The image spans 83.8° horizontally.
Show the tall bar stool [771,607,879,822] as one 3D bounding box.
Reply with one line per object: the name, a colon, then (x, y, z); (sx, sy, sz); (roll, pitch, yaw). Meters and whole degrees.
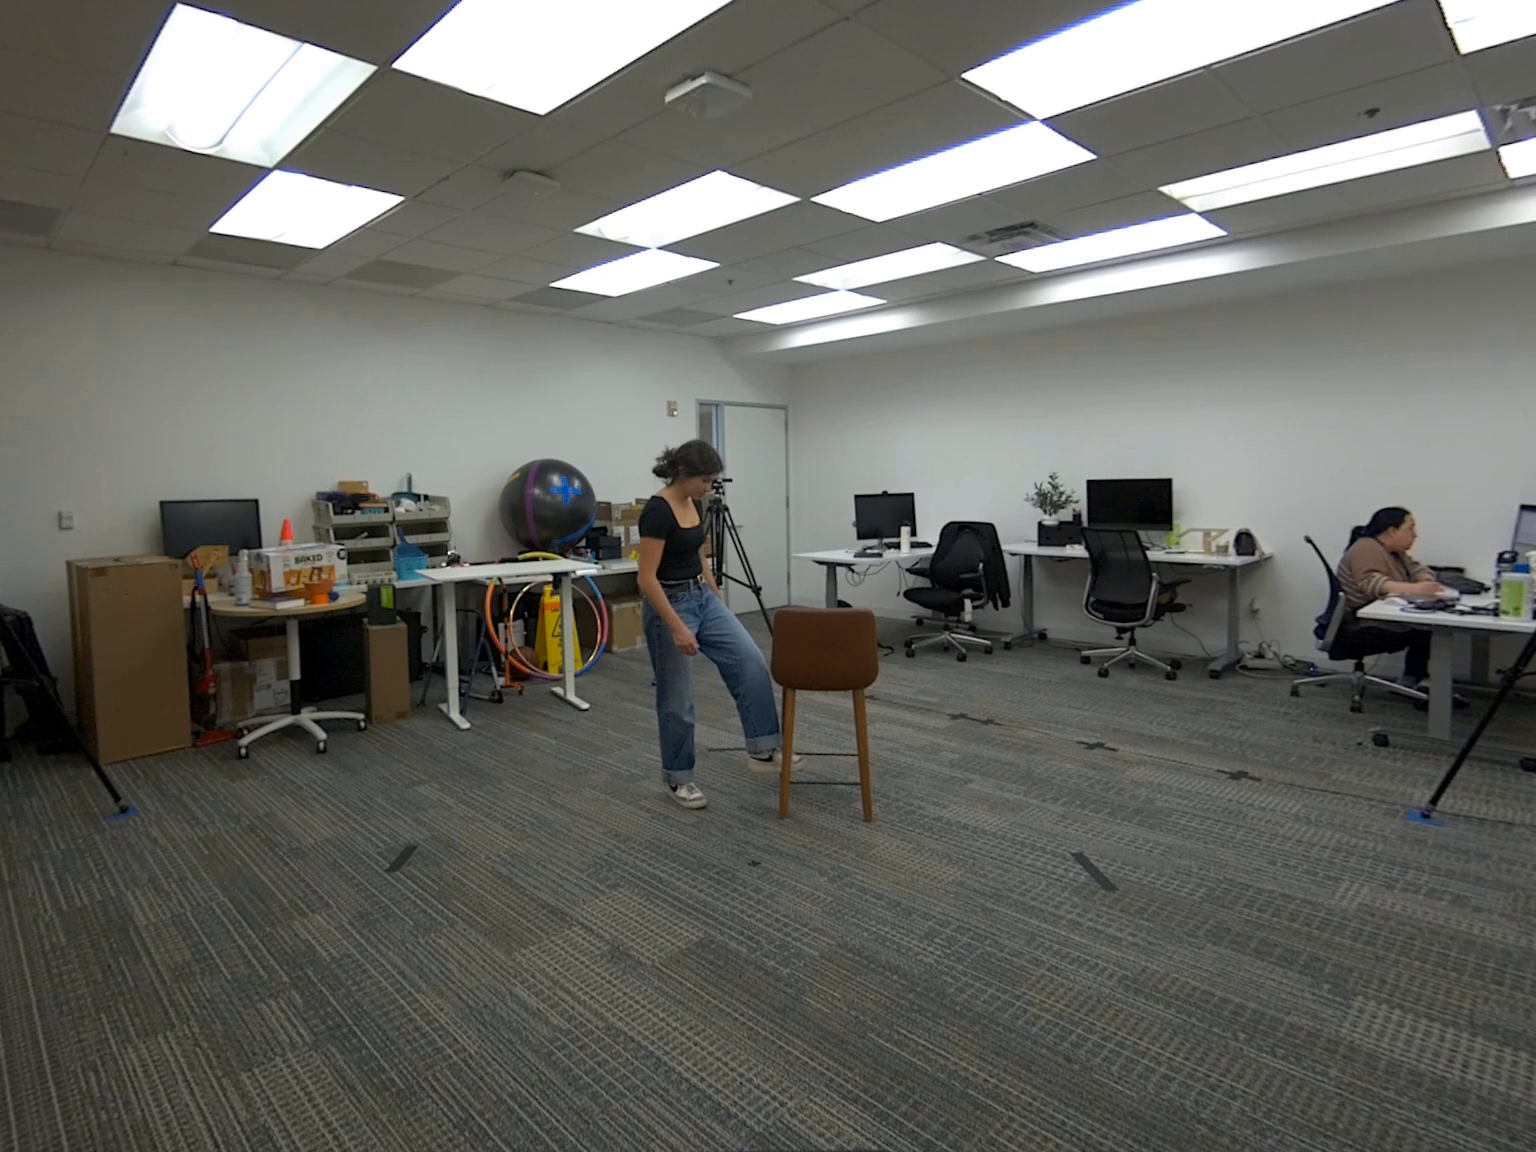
tall bar stool: (0.244, 0.539, 3.672); (0.460, 0.884, 0.467); (0, 7, 6)
